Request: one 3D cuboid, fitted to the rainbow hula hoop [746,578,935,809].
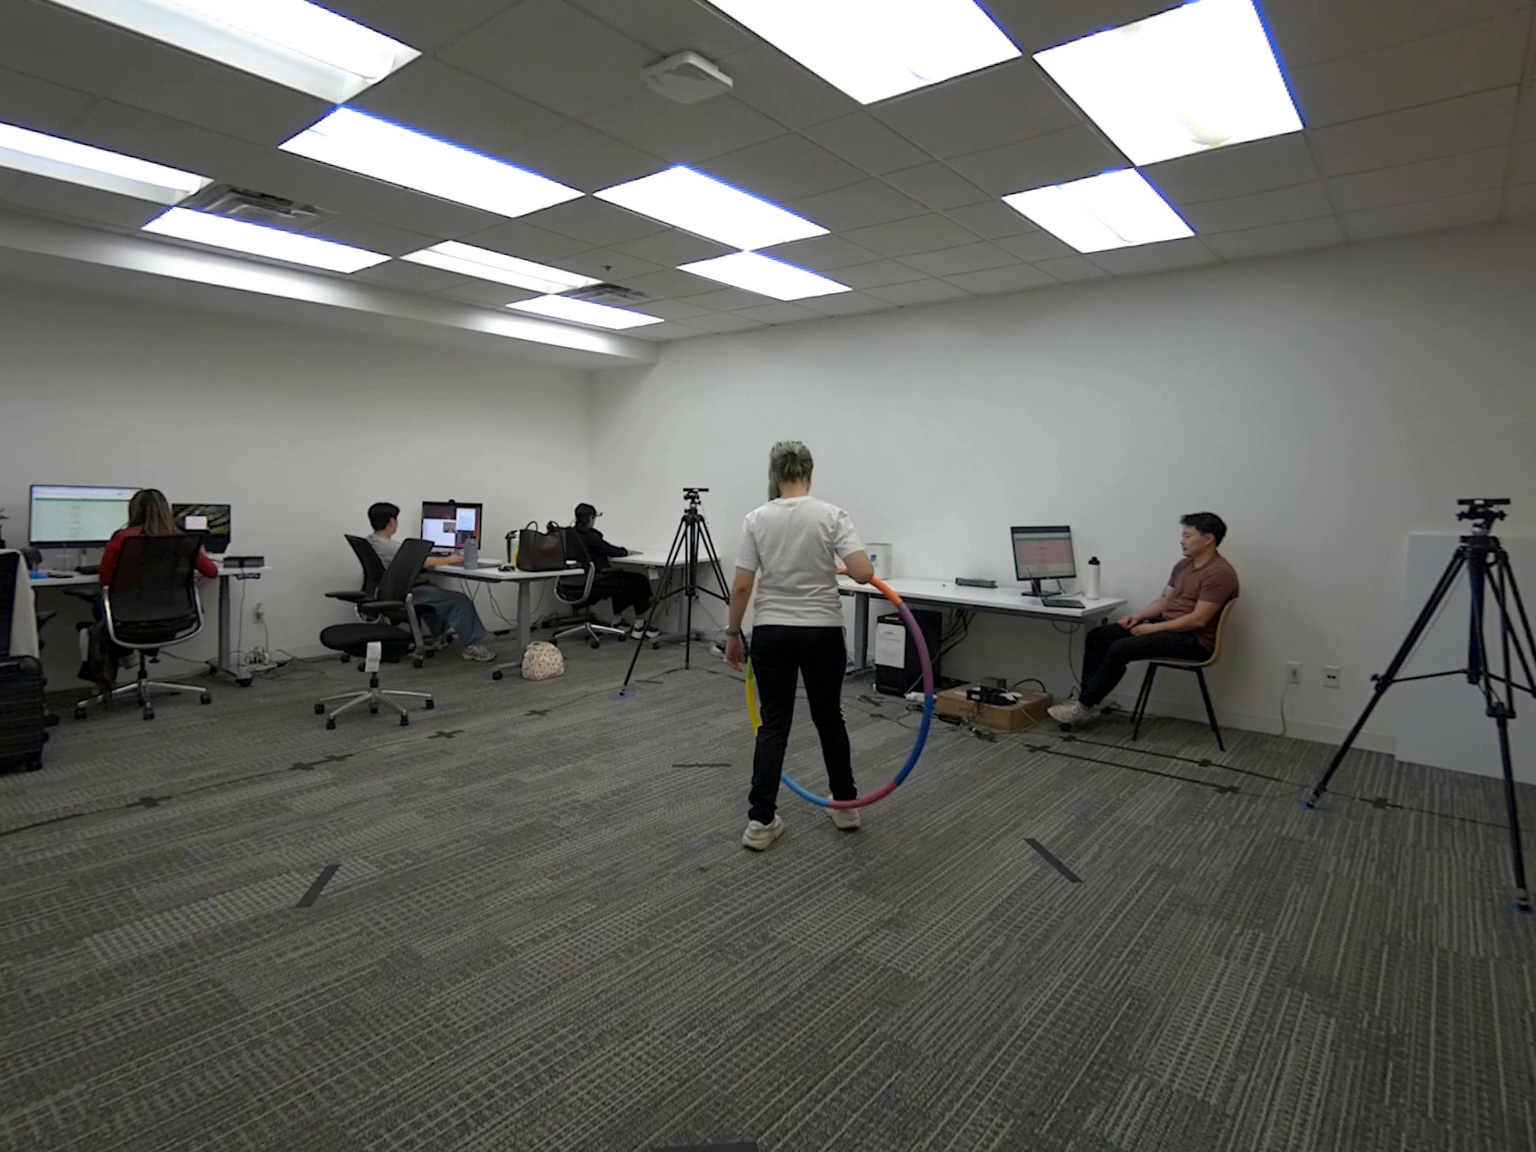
[{"bbox_3d":[0.253,0.457,3.567,1.012,0.980,0.034,5,-2,44],"label":"rainbow hula hoop"}]
